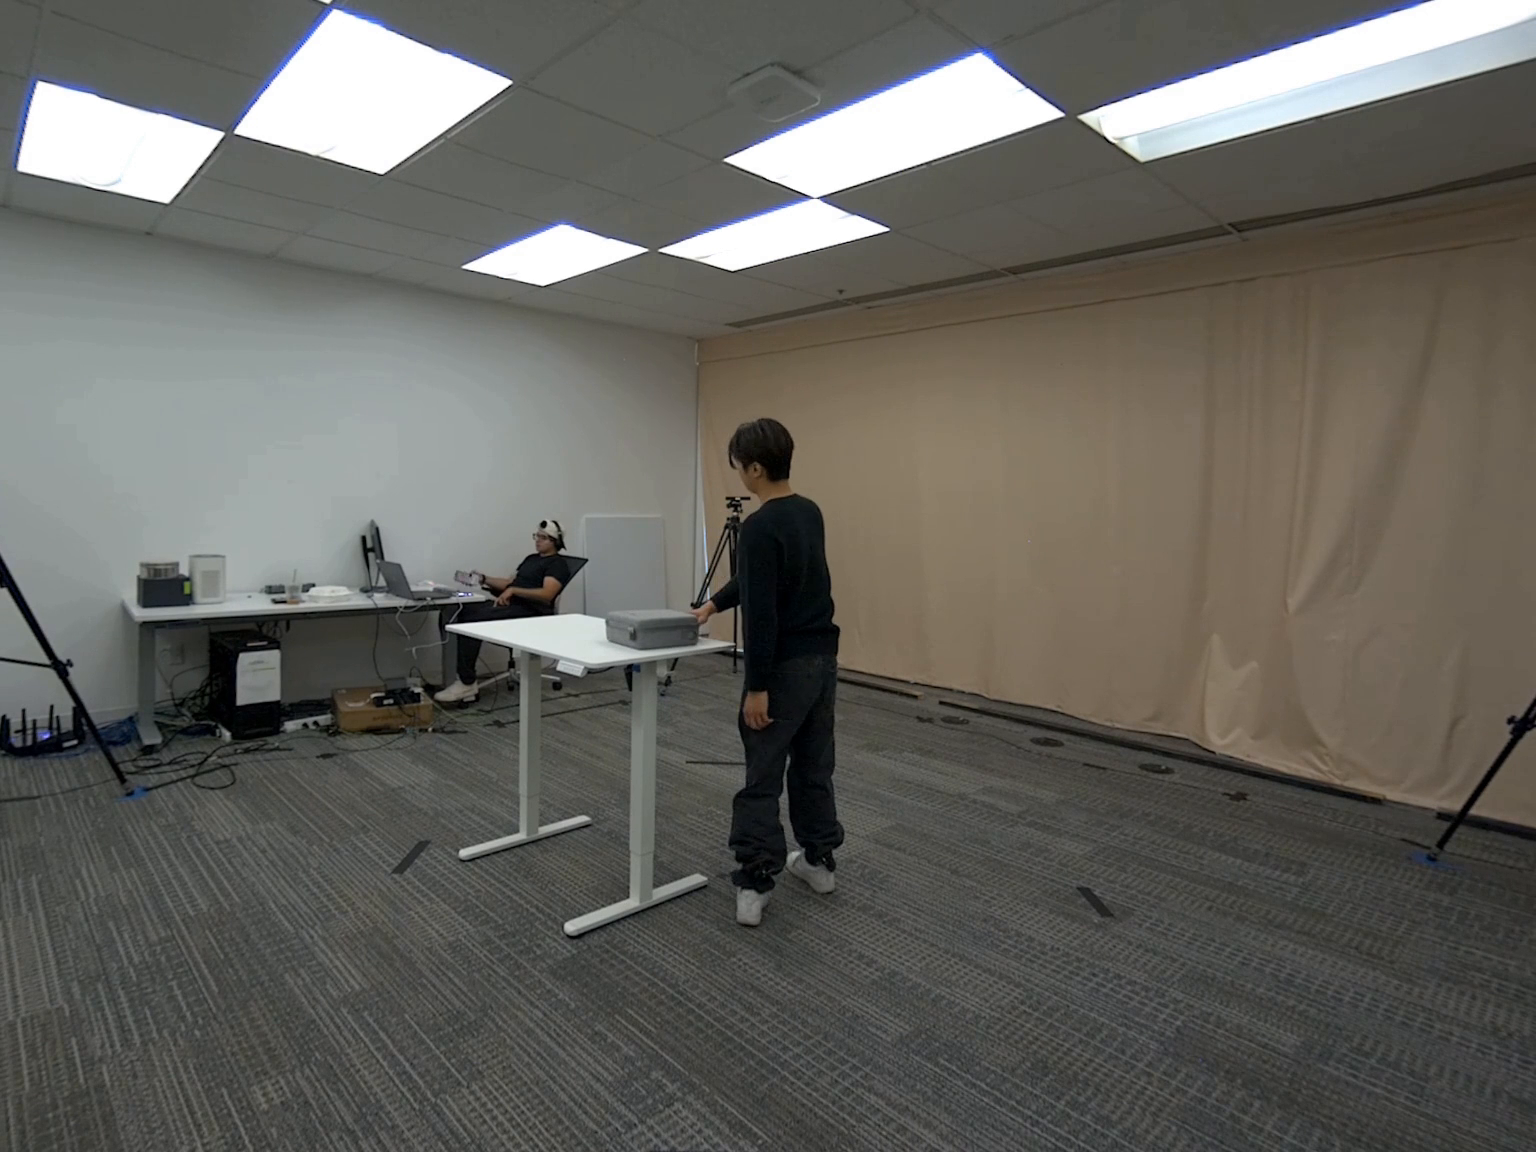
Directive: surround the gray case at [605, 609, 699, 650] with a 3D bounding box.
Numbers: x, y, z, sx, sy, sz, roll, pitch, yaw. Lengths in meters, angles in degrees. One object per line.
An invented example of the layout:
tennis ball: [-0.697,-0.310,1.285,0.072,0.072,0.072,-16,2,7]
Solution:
gray case: [-0.410,0.179,2.917,0.255,0.104,0.263,-2,4,-36]
